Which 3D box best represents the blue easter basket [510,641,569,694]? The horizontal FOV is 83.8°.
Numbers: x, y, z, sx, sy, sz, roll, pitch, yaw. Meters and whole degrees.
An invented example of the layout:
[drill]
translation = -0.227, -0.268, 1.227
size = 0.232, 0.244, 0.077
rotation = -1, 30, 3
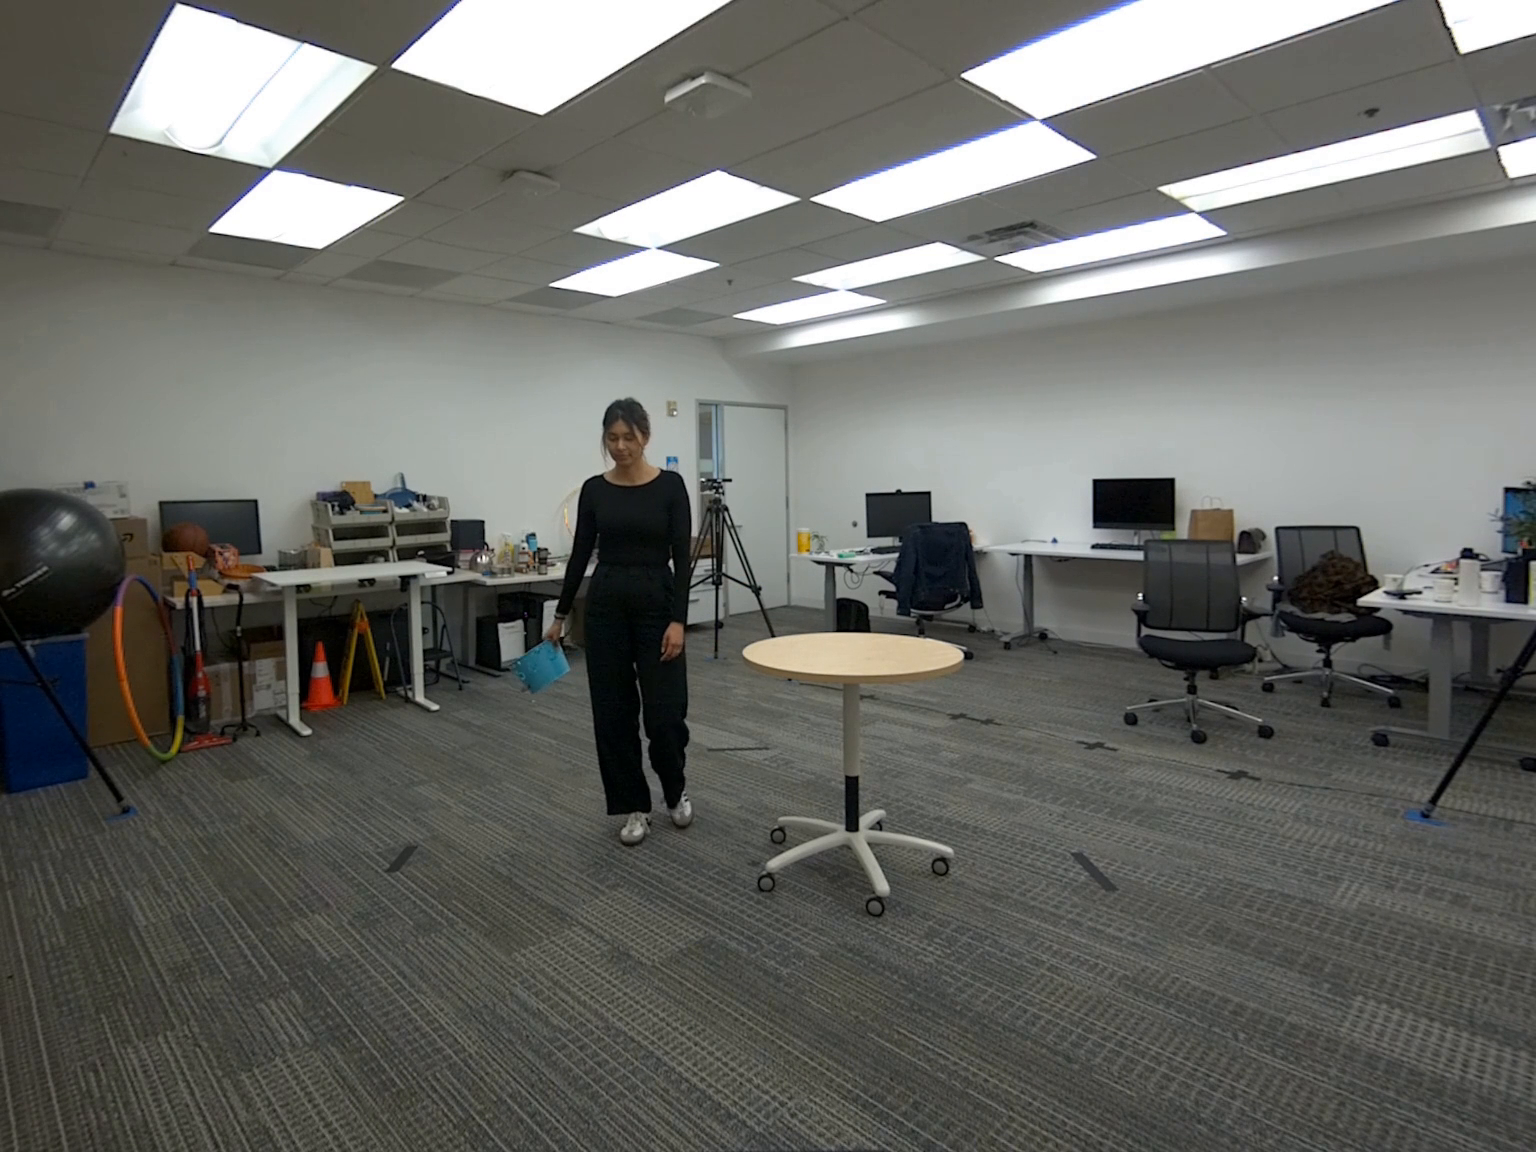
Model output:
[blue easter basket]
translation = -0.918, 0.362, 3.478
size = 0.243, 0.156, 0.243
rotation = -31, 1, -2
